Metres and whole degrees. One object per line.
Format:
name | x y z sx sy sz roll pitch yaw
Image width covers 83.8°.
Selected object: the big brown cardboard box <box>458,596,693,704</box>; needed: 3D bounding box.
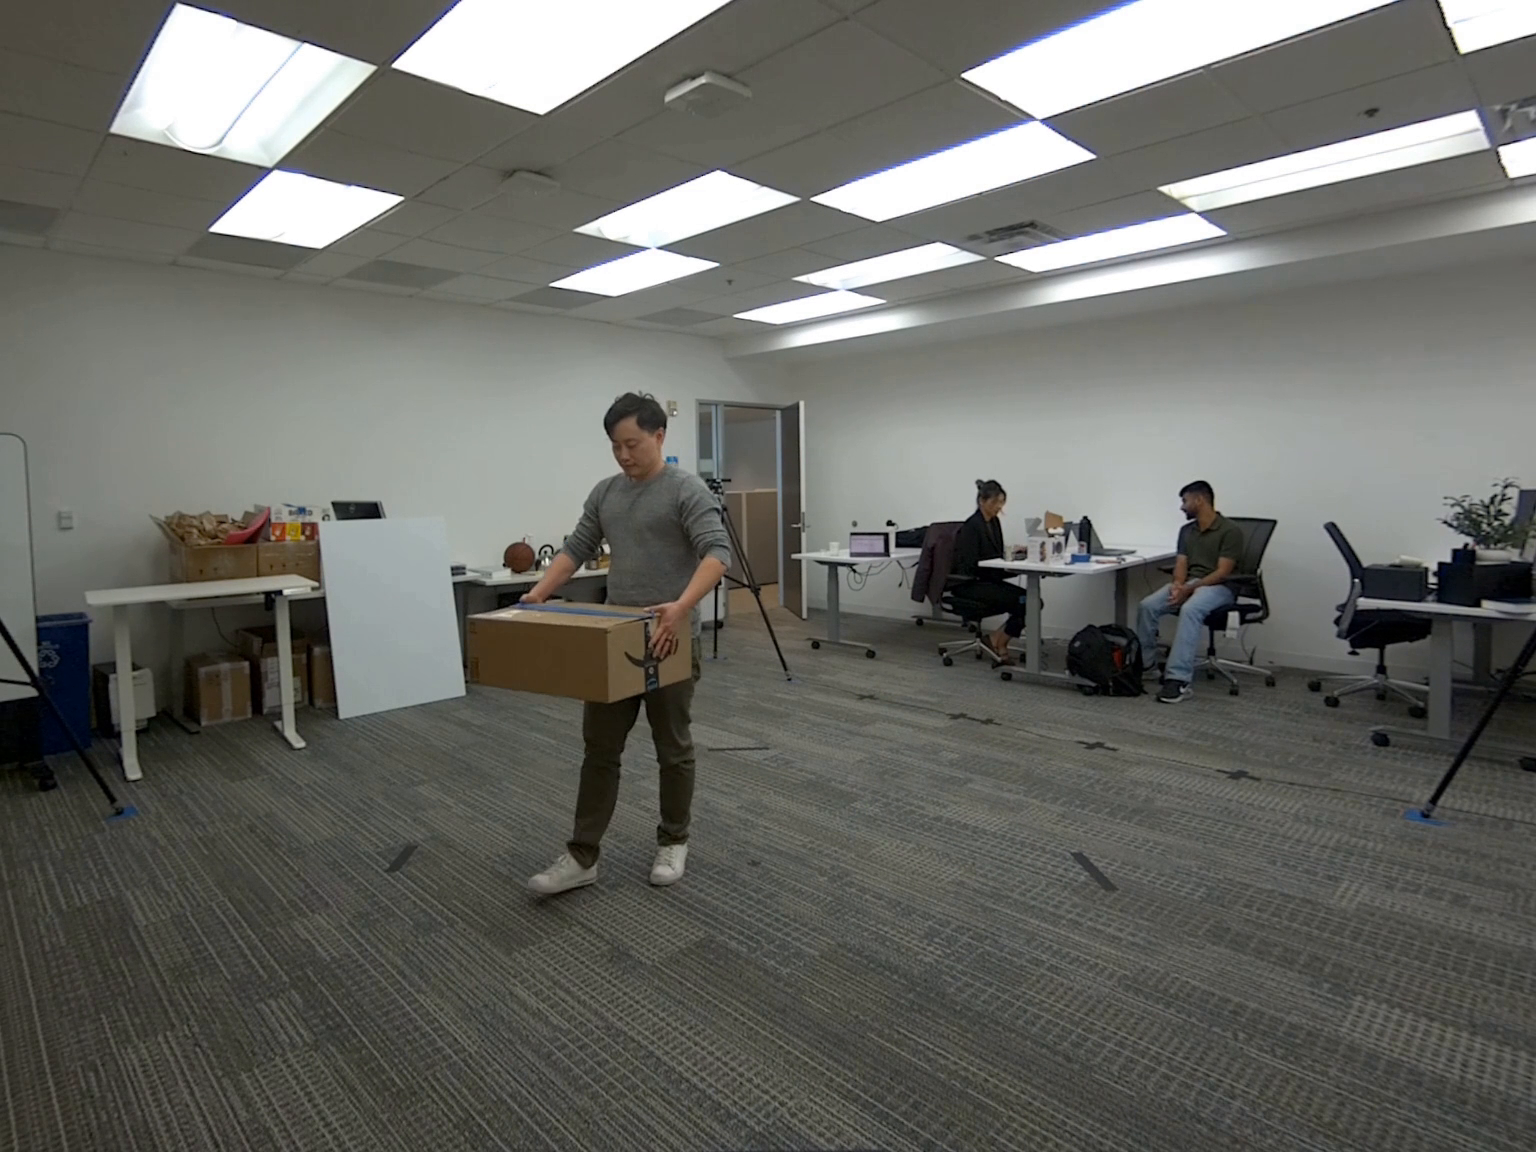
big brown cardboard box | -0.598 0.215 2.678 0.604 0.232 0.408 2 5 30
